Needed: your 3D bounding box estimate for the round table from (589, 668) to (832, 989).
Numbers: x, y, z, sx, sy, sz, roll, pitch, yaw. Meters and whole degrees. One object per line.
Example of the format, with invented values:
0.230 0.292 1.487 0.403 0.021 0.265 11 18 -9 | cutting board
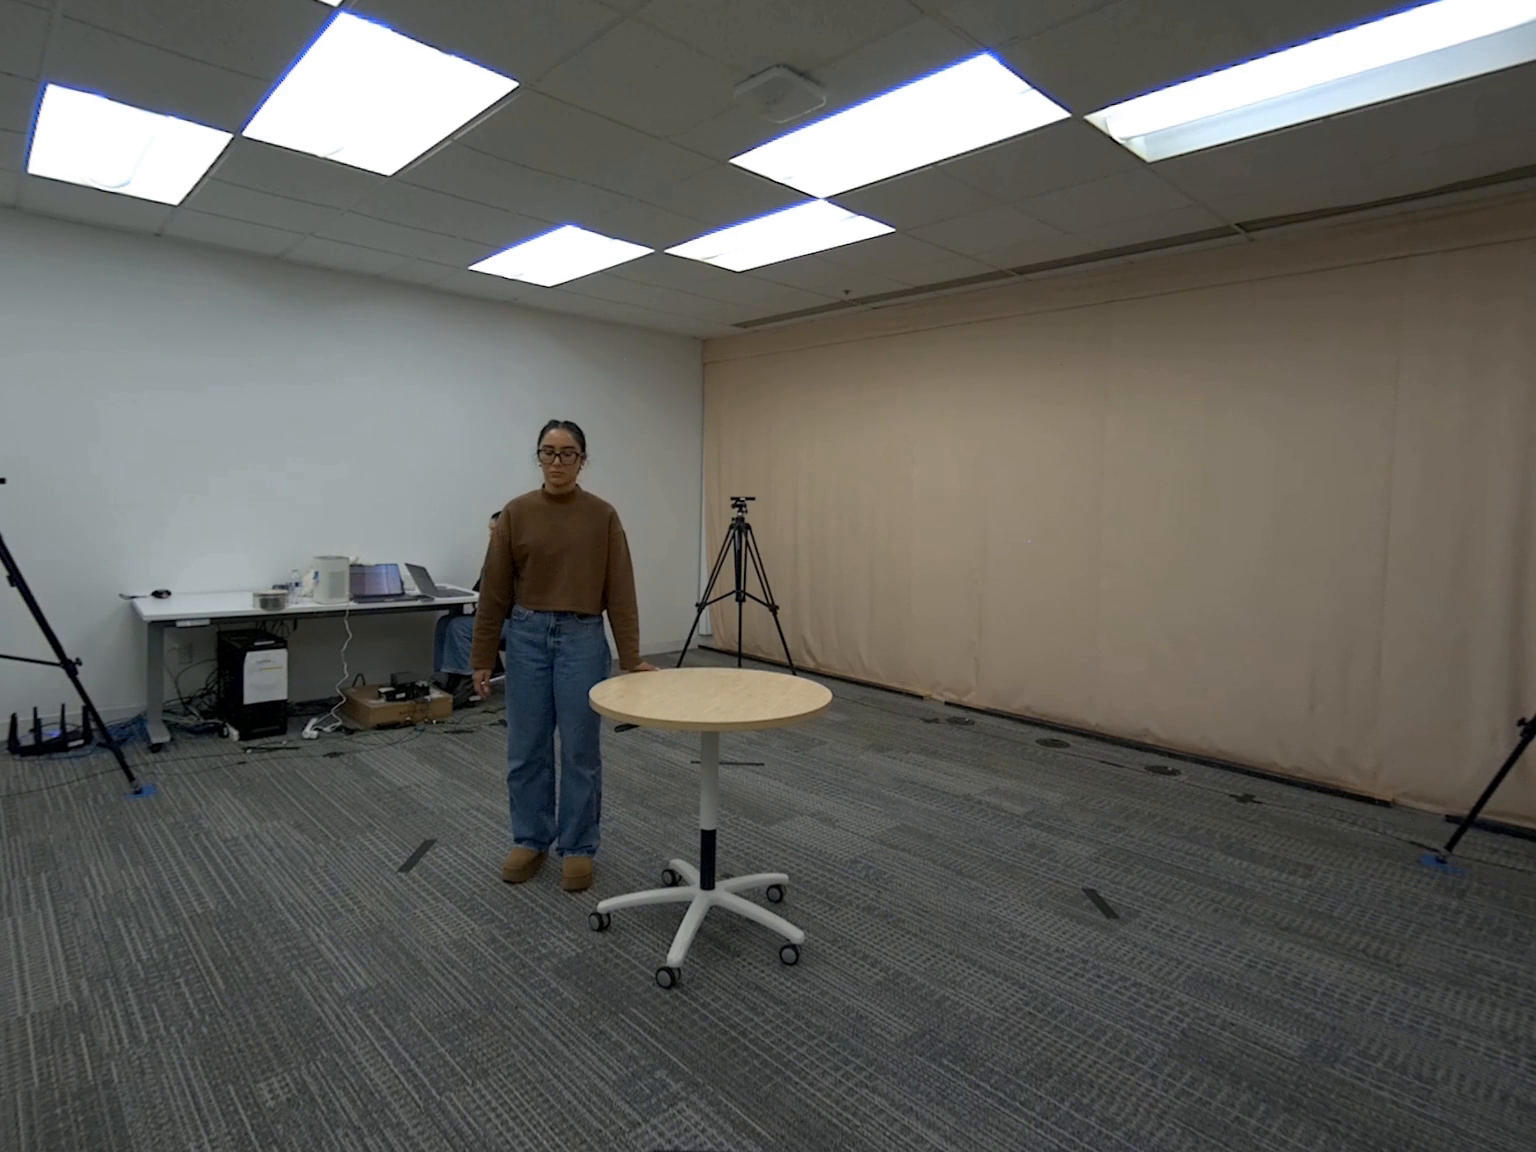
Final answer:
-0.202 0.758 2.684 0.763 0.792 0.767 1 4 -1 | round table
